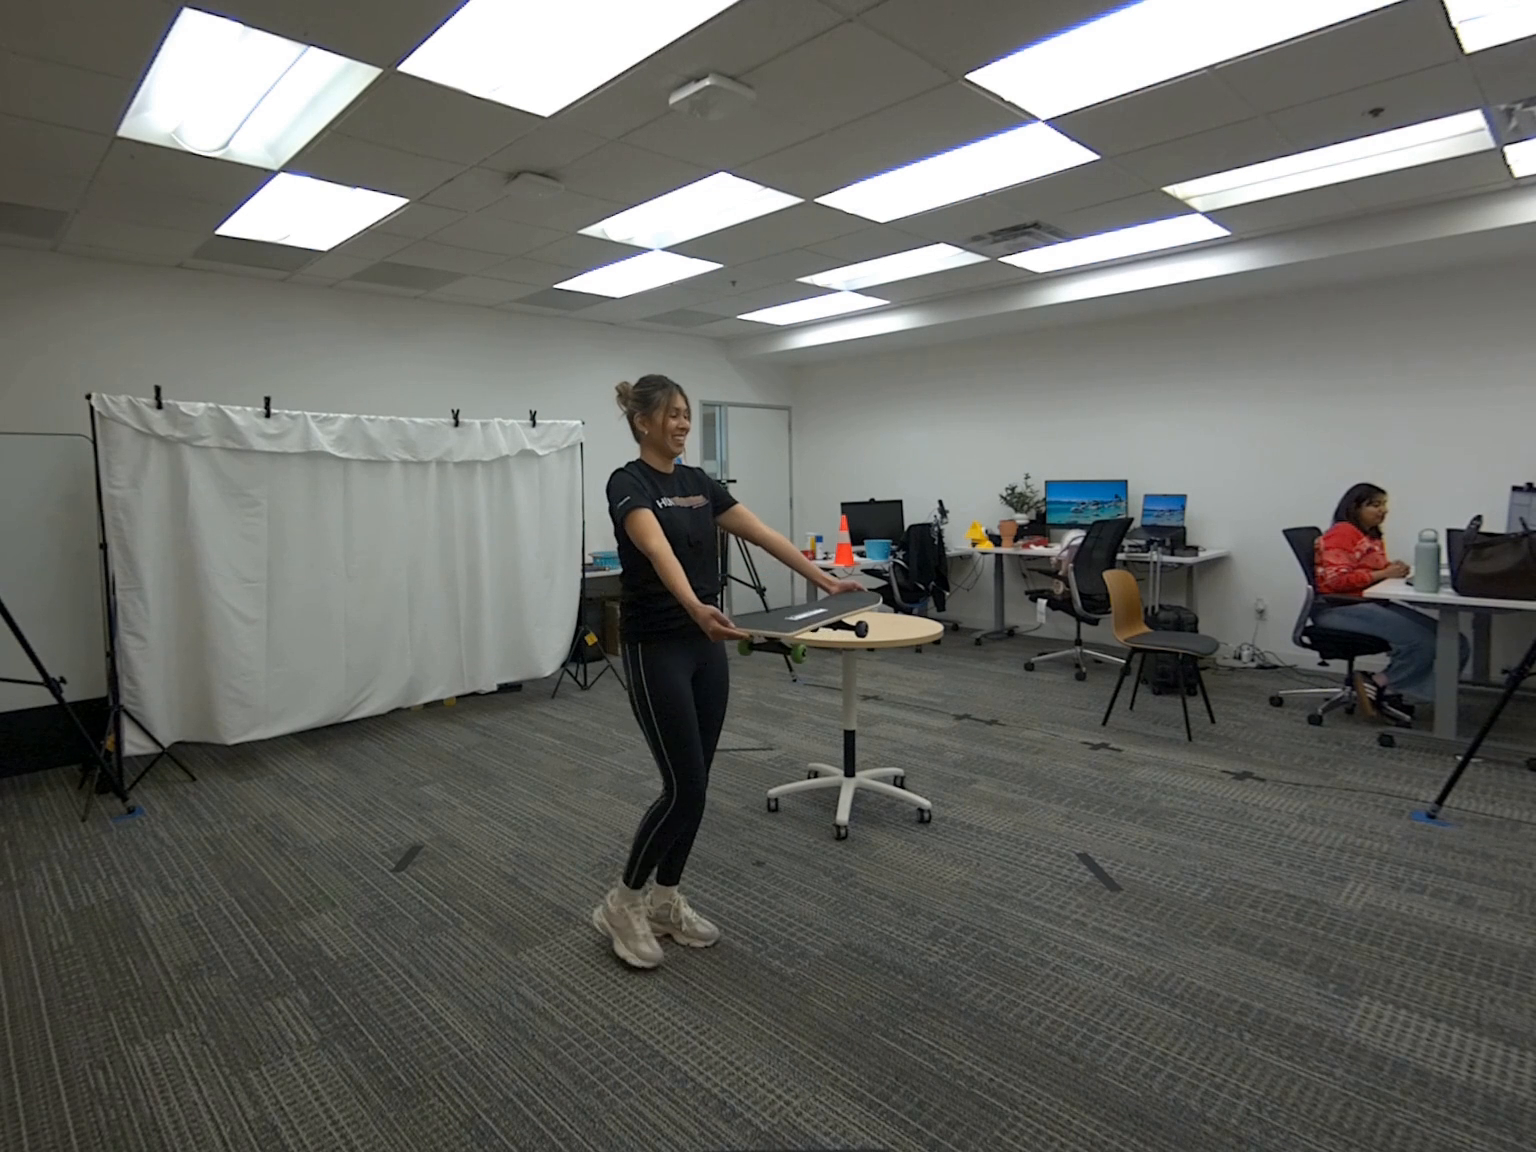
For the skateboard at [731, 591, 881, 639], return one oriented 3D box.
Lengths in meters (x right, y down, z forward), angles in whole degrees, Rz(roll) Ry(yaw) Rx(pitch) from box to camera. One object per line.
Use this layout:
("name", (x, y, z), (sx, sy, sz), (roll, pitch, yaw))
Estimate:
("skateboard", (0.106, 0.141, 2.328), (0.199, 0.110, 0.767), (6, 8, 30))
